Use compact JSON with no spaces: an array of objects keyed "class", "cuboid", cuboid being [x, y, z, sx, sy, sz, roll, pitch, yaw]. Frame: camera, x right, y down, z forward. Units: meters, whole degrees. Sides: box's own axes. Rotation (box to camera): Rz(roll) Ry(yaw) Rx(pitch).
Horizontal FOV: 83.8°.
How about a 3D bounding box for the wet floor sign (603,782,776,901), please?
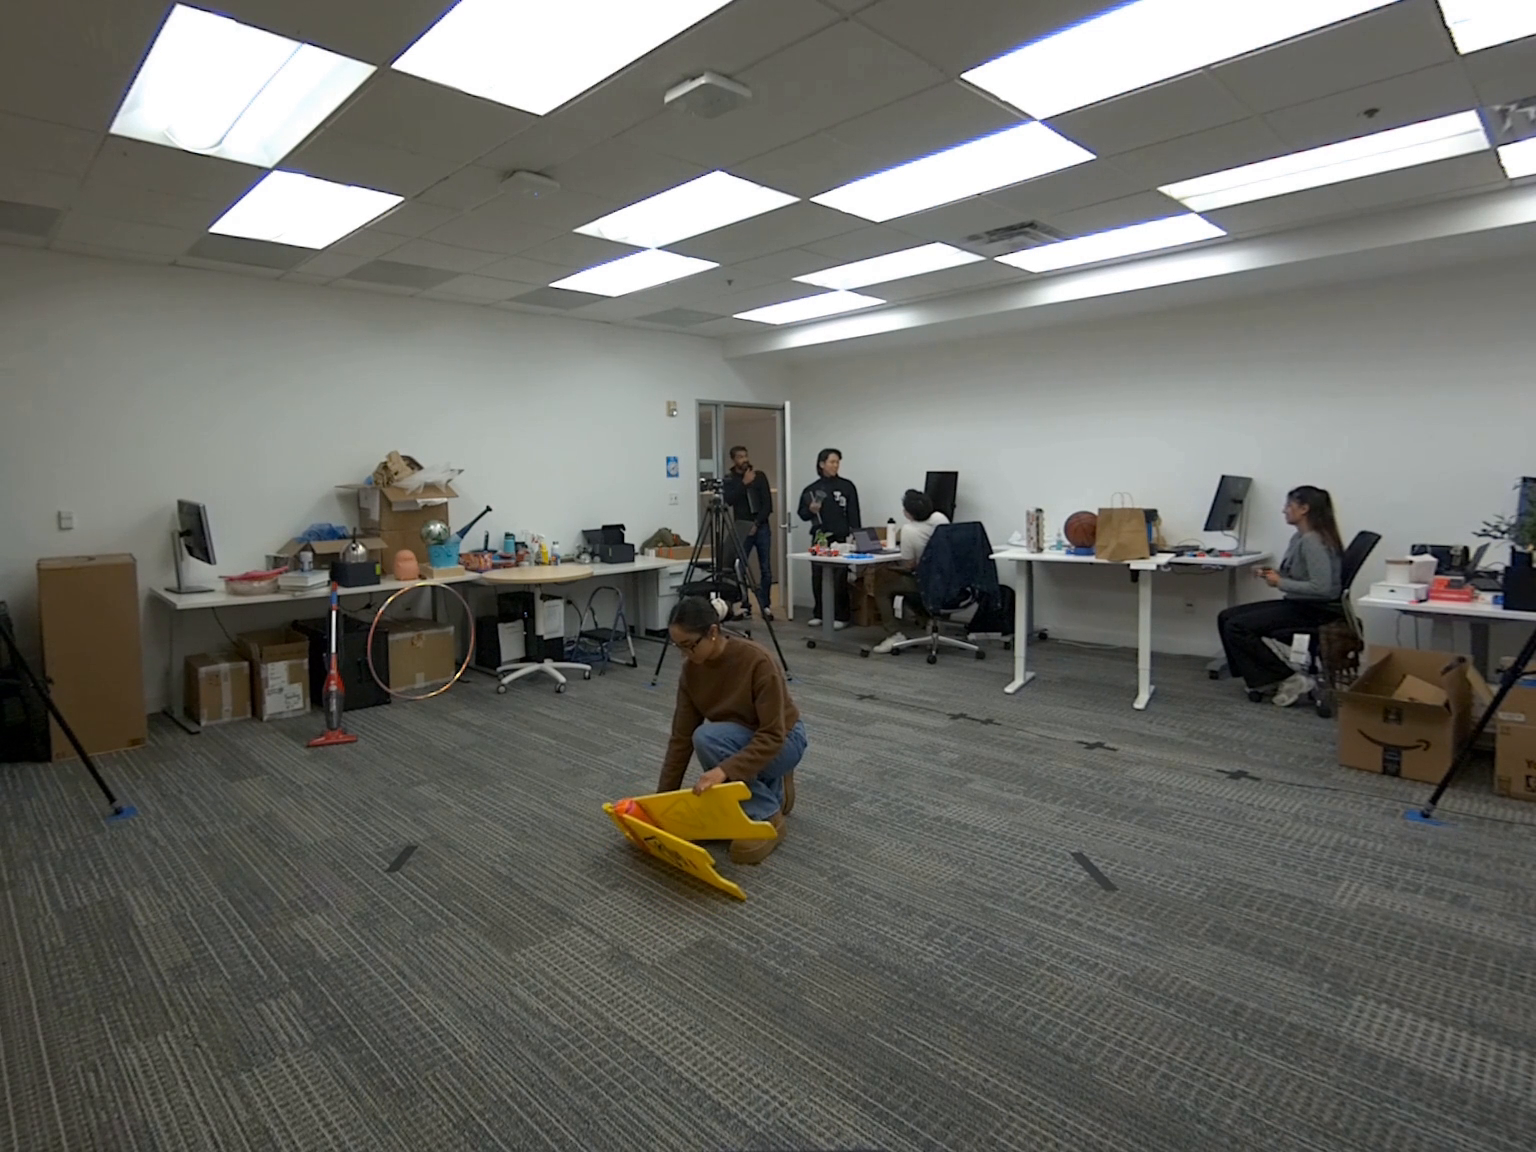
[{"class":"wet floor sign","cuboid":[-0.327,0.916,3.071,0.662,0.273,0.291,-6,38,40]}]
